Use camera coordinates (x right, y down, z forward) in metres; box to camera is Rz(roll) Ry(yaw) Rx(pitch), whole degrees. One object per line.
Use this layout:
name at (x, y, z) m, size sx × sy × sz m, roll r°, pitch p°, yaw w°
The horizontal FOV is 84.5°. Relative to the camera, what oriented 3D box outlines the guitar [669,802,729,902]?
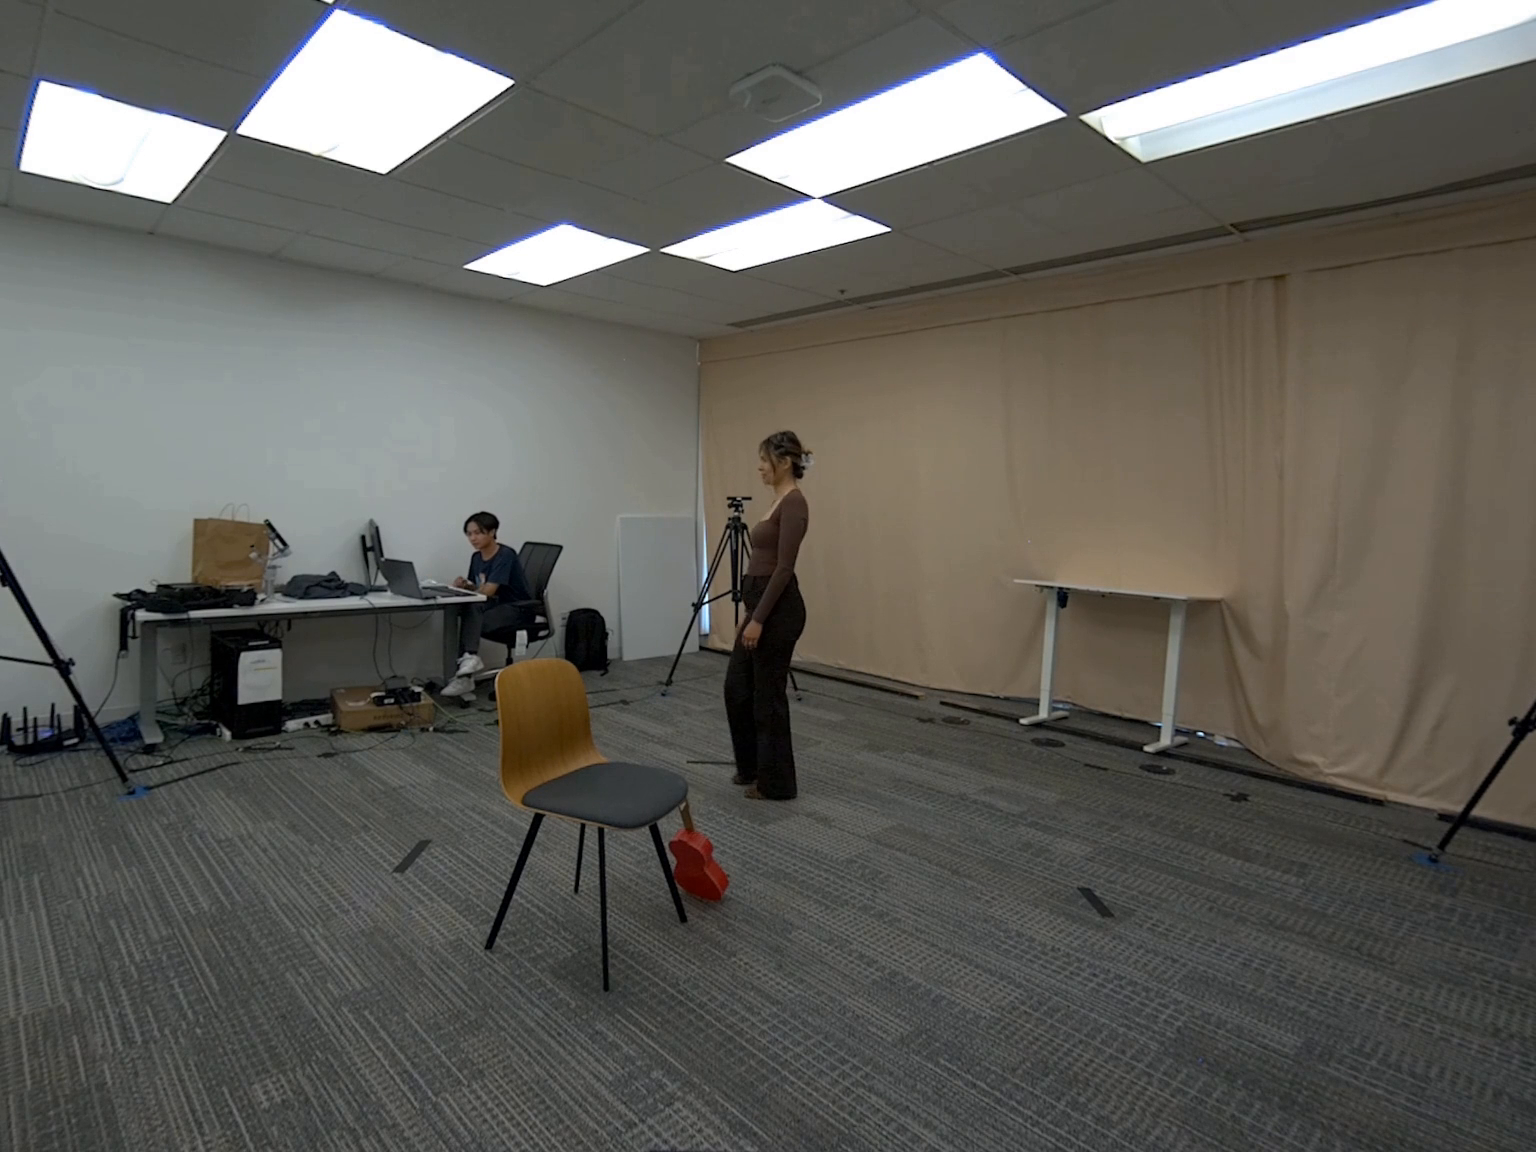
guitar at (-0.292, 0.896, 2.866) m, size 0.197 × 0.489 × 0.070 m, roll -4°, pitch 25°, yaw 36°
